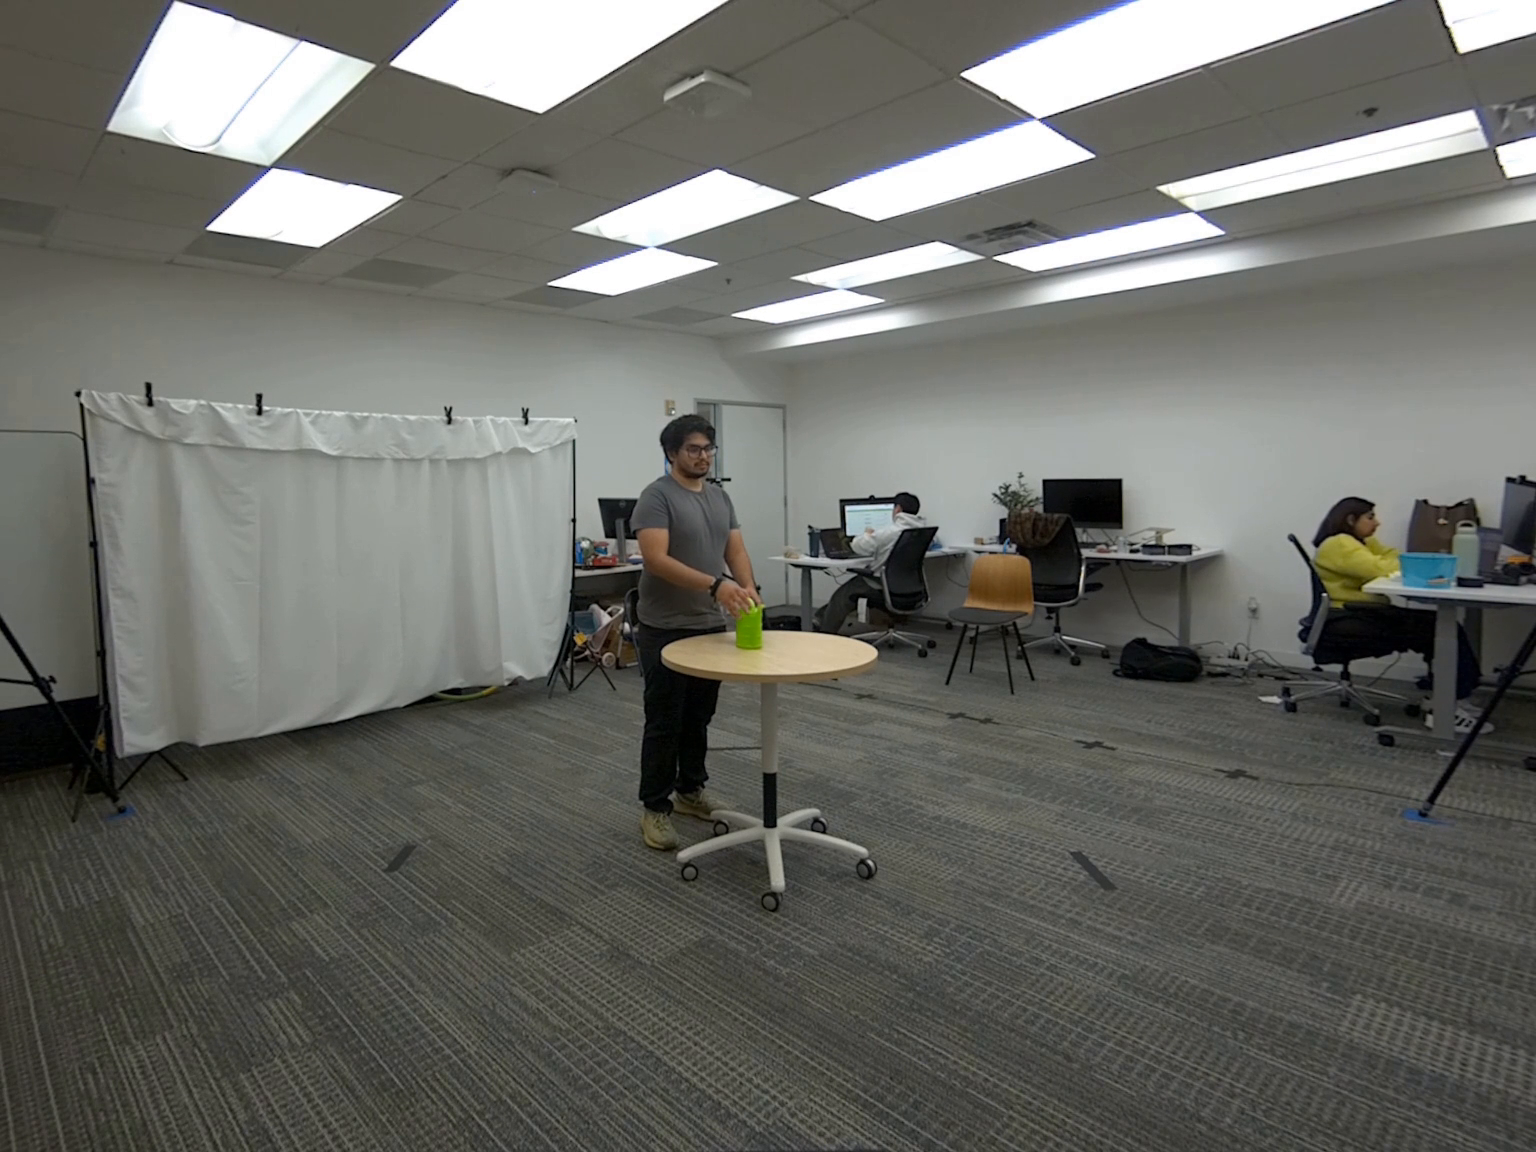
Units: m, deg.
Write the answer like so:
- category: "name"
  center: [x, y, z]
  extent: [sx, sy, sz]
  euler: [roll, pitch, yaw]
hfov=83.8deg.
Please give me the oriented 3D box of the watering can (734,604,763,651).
- category: "watering can"
  center: [-0.064, 0.181, 3.070]
  extent: [0.098, 0.176, 0.278]
  euler: [-3, 6, 2]
